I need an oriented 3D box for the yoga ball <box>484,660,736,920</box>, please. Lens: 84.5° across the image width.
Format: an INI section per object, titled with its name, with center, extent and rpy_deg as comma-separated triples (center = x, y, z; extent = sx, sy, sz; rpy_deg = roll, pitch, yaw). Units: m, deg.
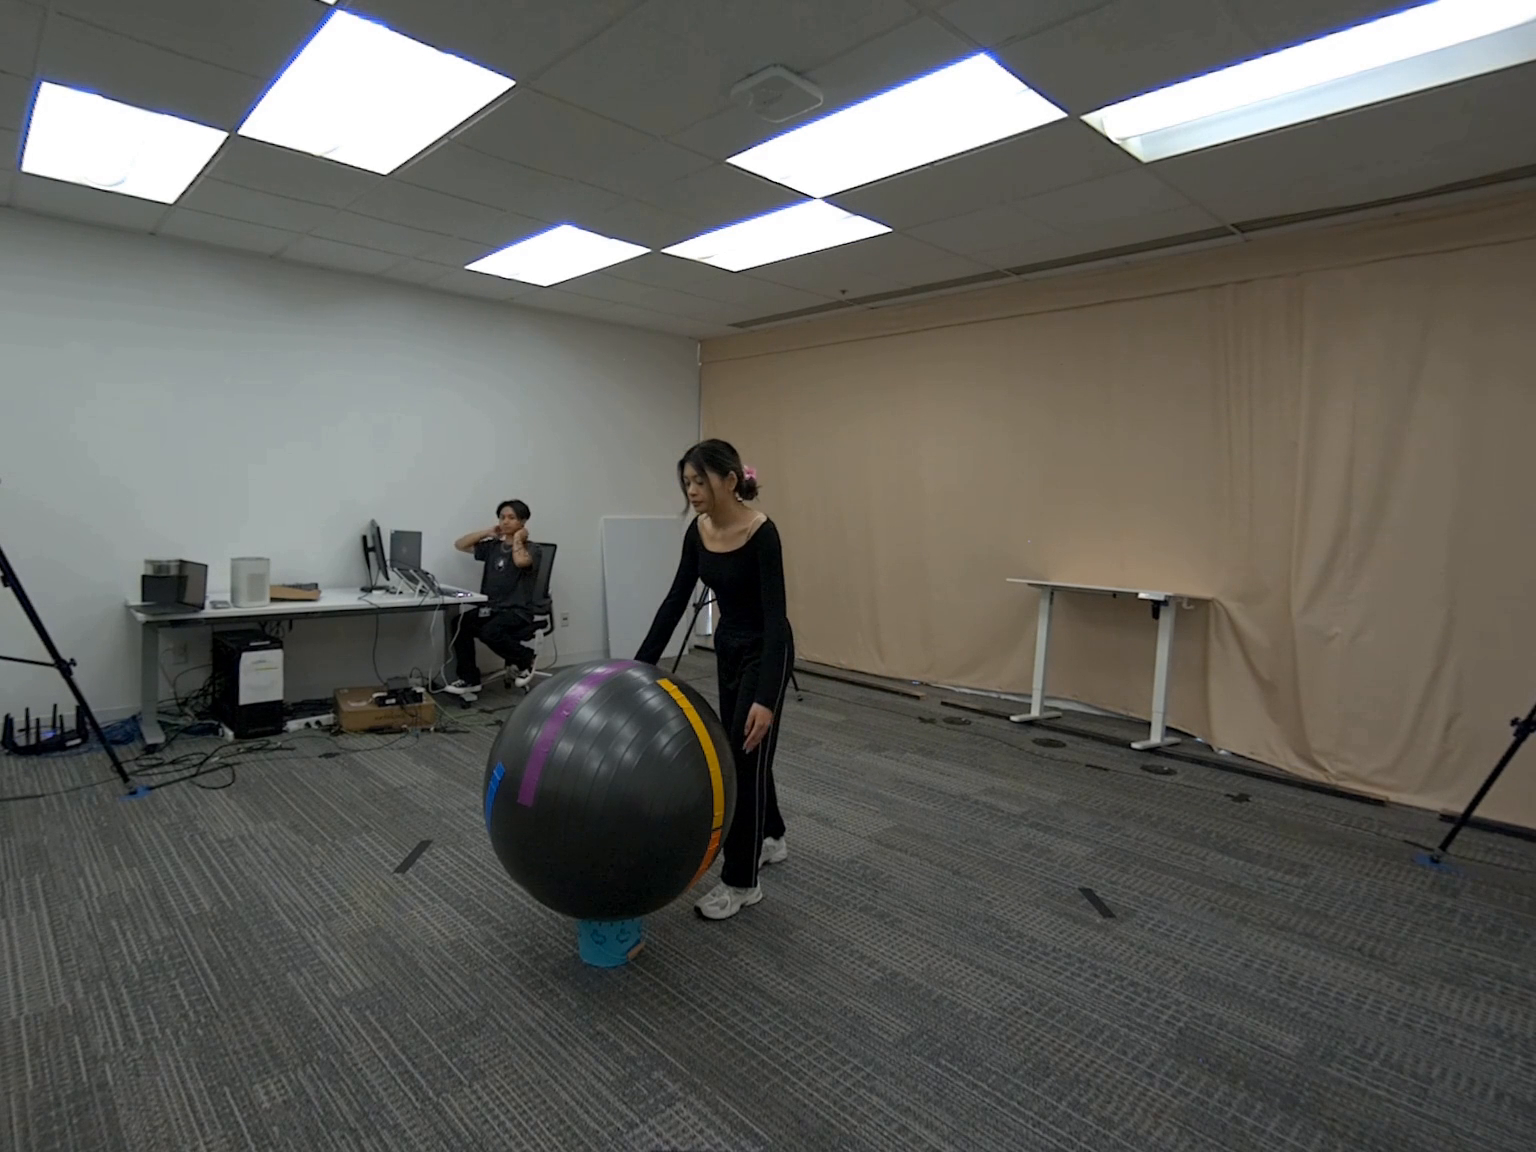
[yoga ball]
center = -0.474, 0.638, 2.547
extent = 0.757, 0.756, 0.761
rpy_deg = 1, 4, -1
